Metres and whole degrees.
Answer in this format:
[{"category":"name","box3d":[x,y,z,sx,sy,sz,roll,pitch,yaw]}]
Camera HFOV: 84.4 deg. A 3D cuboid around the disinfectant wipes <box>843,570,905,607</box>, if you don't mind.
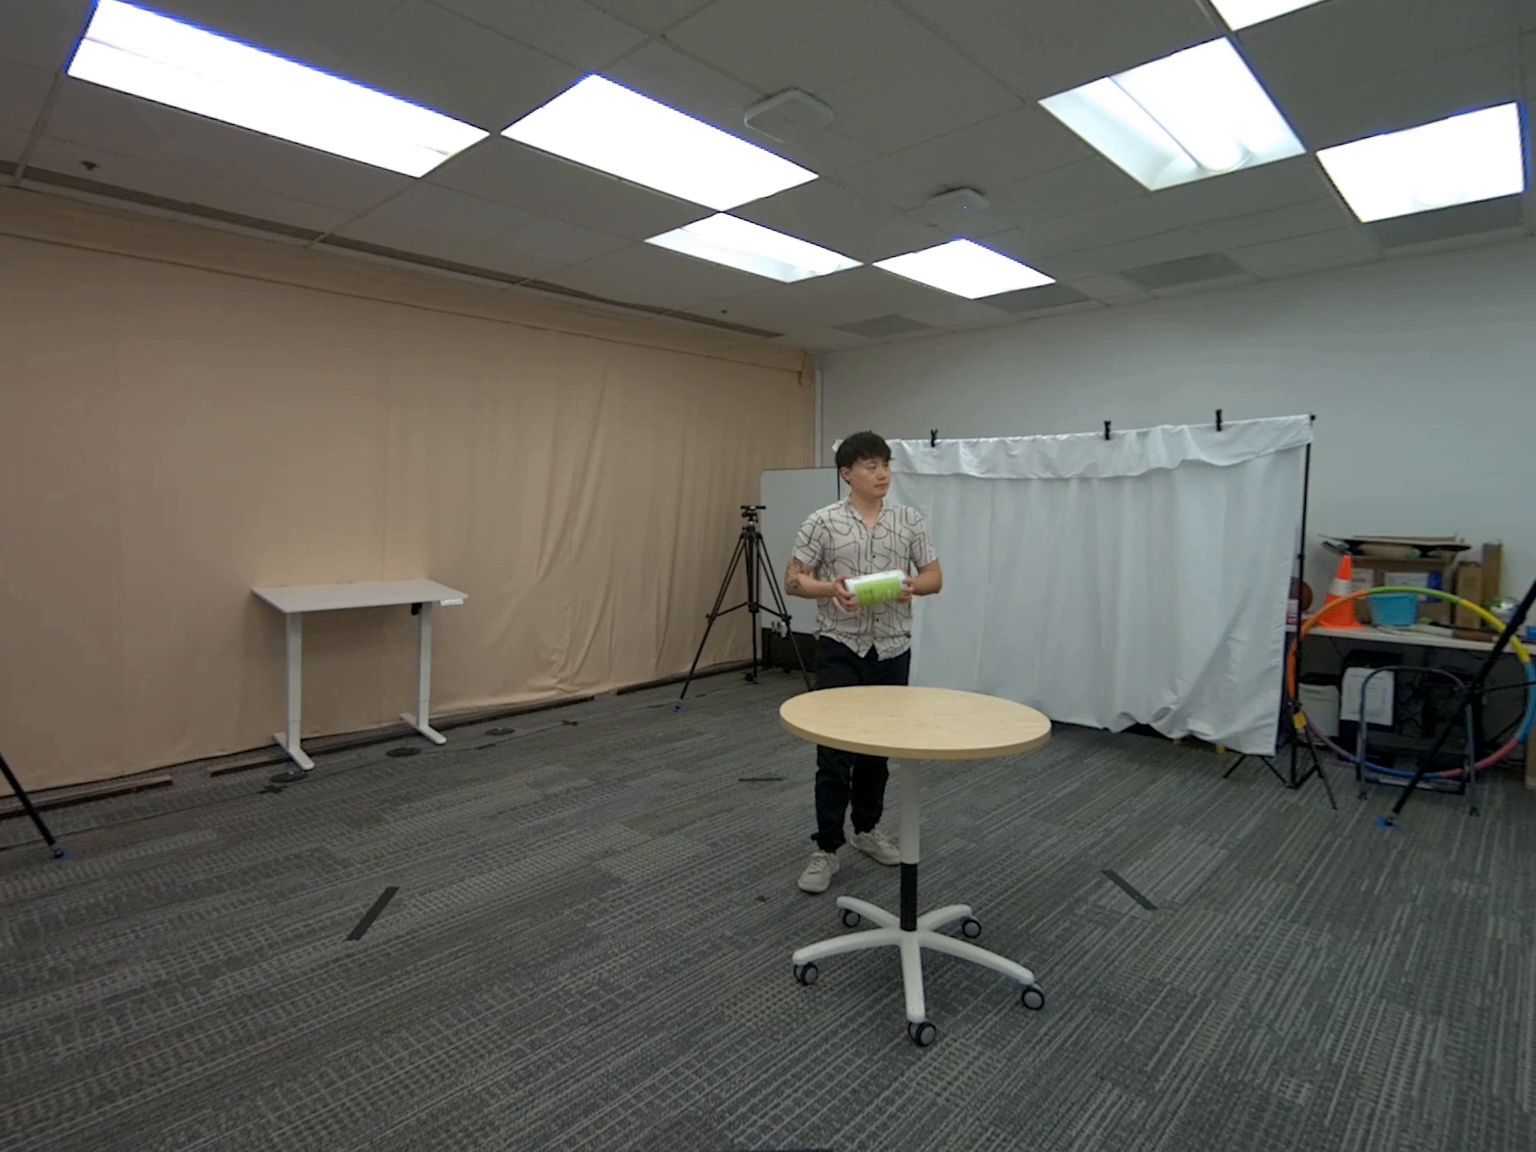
[{"category":"disinfectant wipes","box3d":[0.384,0.042,3.056,0.216,0.117,0.119,-8,5,-6]}]
